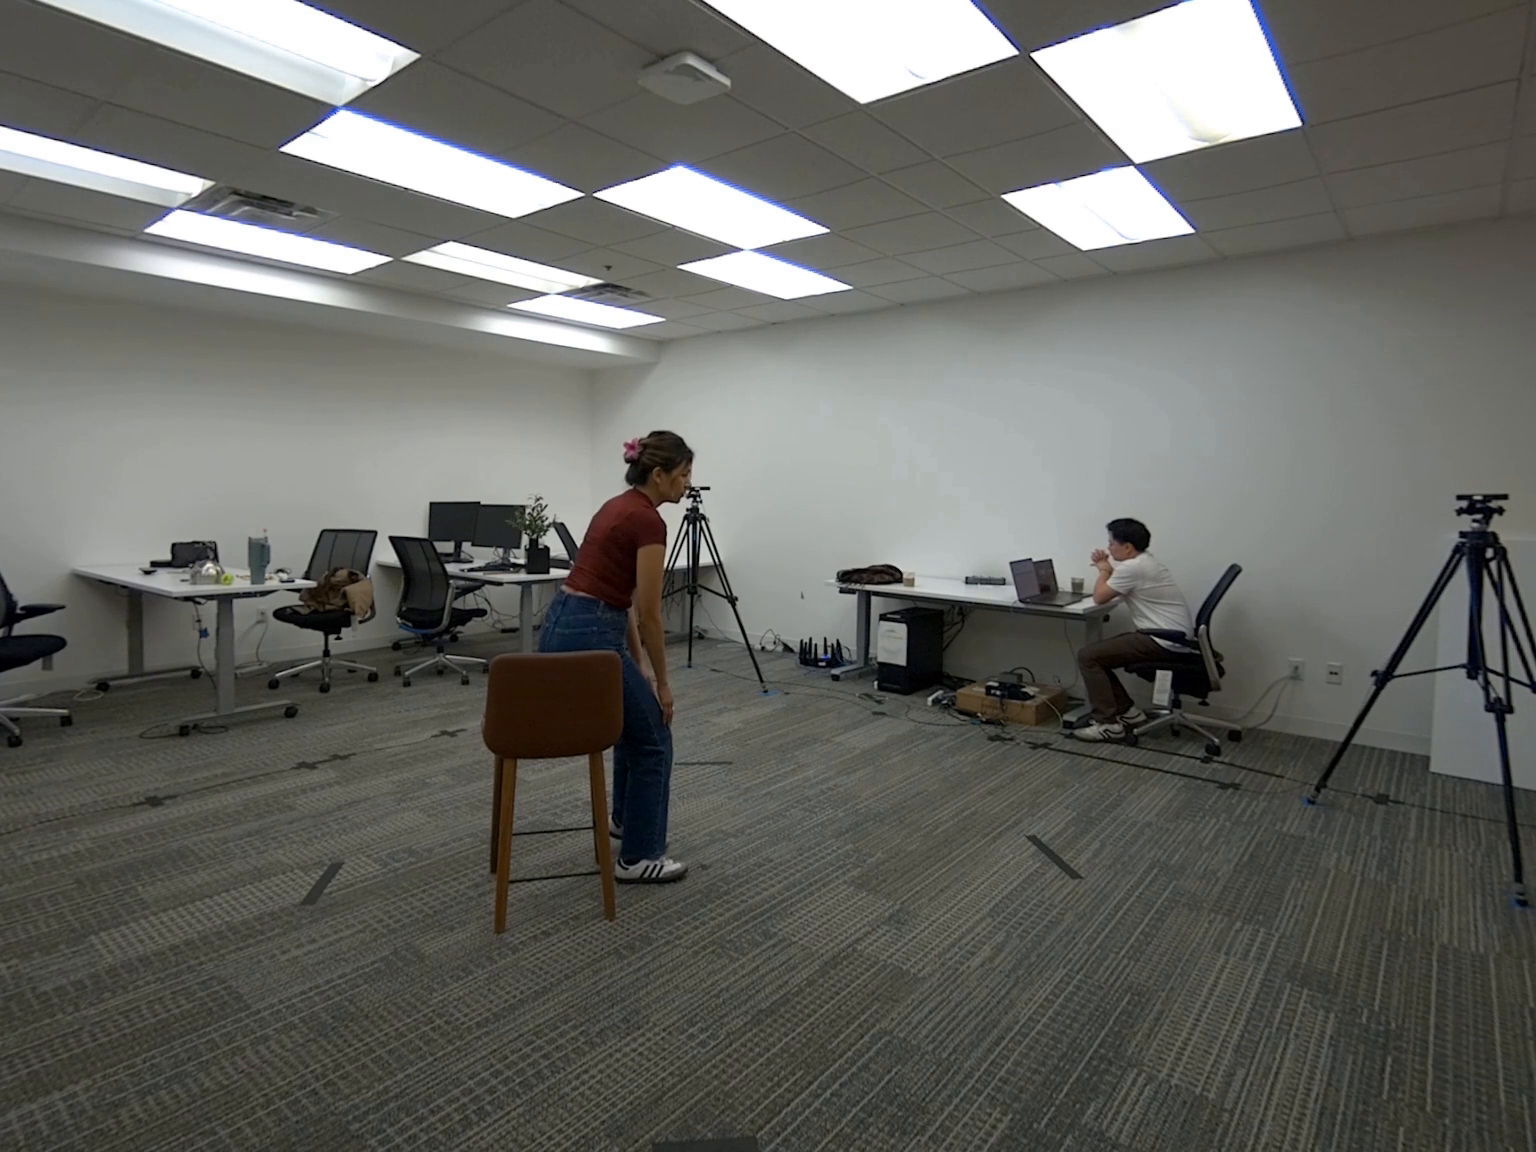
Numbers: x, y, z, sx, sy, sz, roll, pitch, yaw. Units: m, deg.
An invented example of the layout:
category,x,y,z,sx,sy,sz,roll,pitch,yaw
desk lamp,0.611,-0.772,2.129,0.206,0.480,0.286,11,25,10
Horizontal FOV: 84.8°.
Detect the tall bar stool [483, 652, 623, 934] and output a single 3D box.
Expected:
category,x,y,z,sx,sy,sz,roll,pitch,yaw
tall bar stool,-0.750,0.655,2.856,0.449,0.886,0.478,-1,5,-18
